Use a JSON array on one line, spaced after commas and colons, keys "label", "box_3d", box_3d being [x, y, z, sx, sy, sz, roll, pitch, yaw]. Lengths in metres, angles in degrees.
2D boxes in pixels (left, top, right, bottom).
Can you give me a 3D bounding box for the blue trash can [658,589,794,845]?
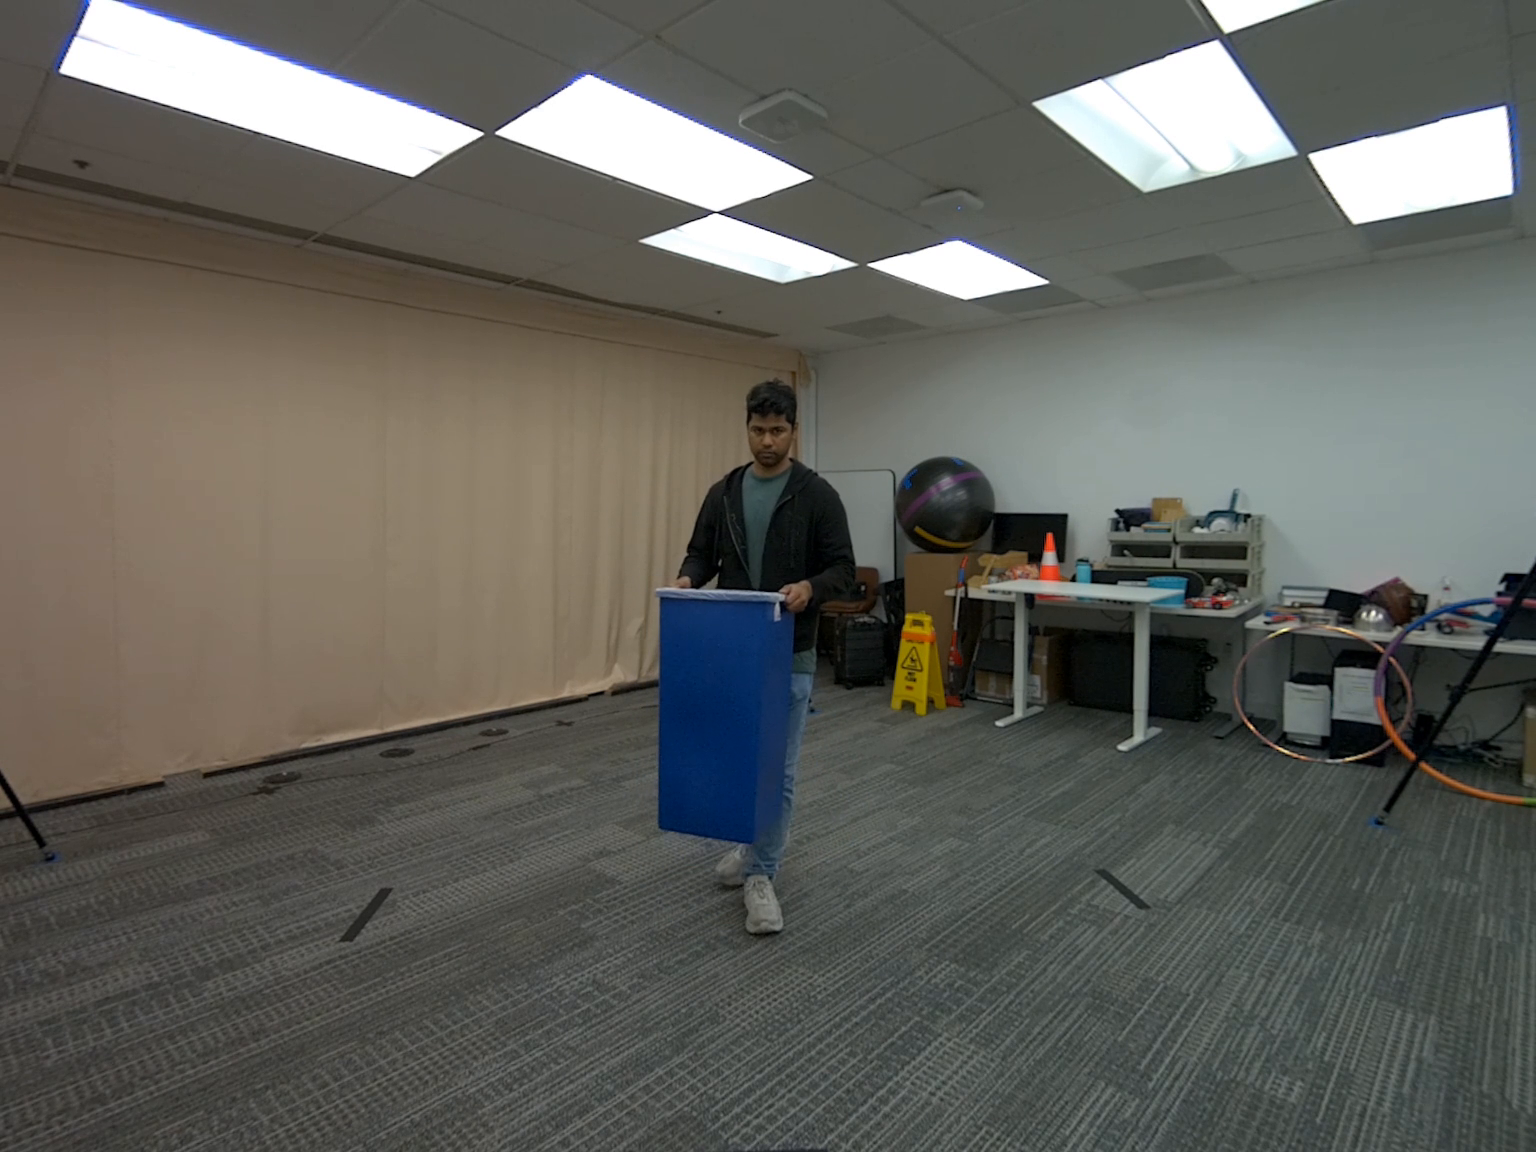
[{"label": "blue trash can", "box_3d": [-0.134, 0.405, 2.599, 0.382, 0.714, 0.369, 2, -2, 20]}]
